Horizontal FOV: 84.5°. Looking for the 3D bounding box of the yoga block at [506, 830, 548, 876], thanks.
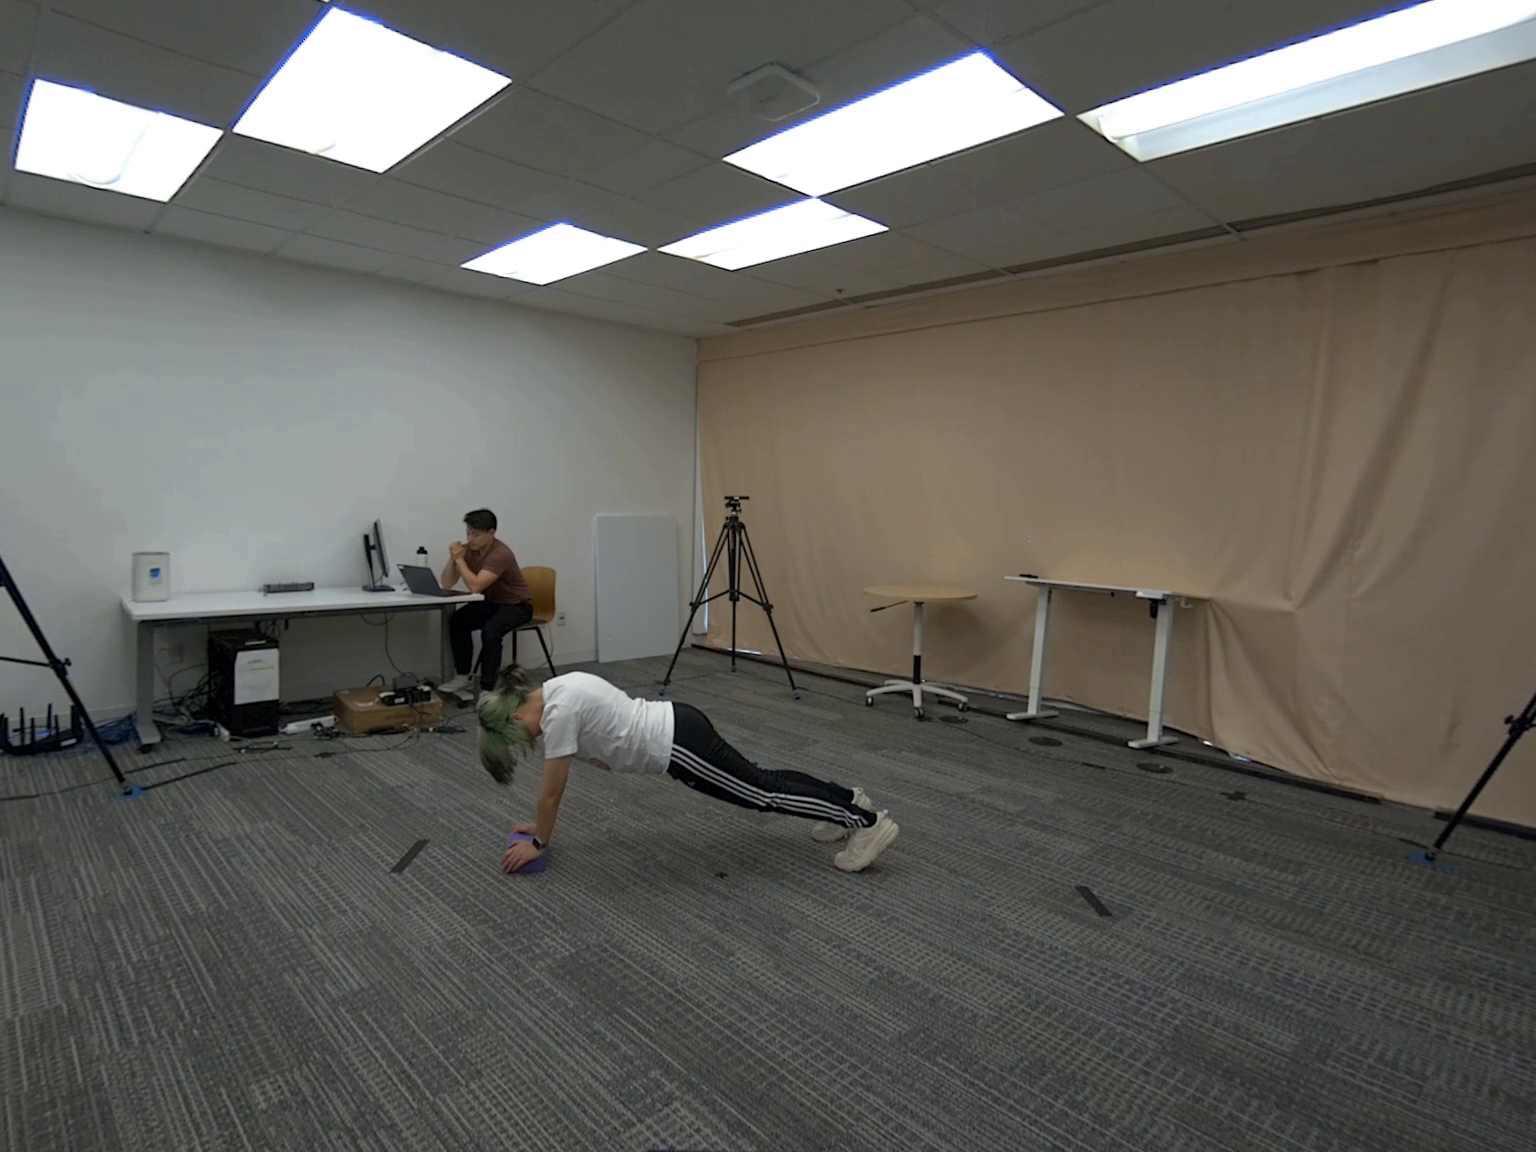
[{"bbox_3d":[-0.912,1.039,3.198,0.148,0.076,0.232,0,7,-9],"label":"yoga block"}]
